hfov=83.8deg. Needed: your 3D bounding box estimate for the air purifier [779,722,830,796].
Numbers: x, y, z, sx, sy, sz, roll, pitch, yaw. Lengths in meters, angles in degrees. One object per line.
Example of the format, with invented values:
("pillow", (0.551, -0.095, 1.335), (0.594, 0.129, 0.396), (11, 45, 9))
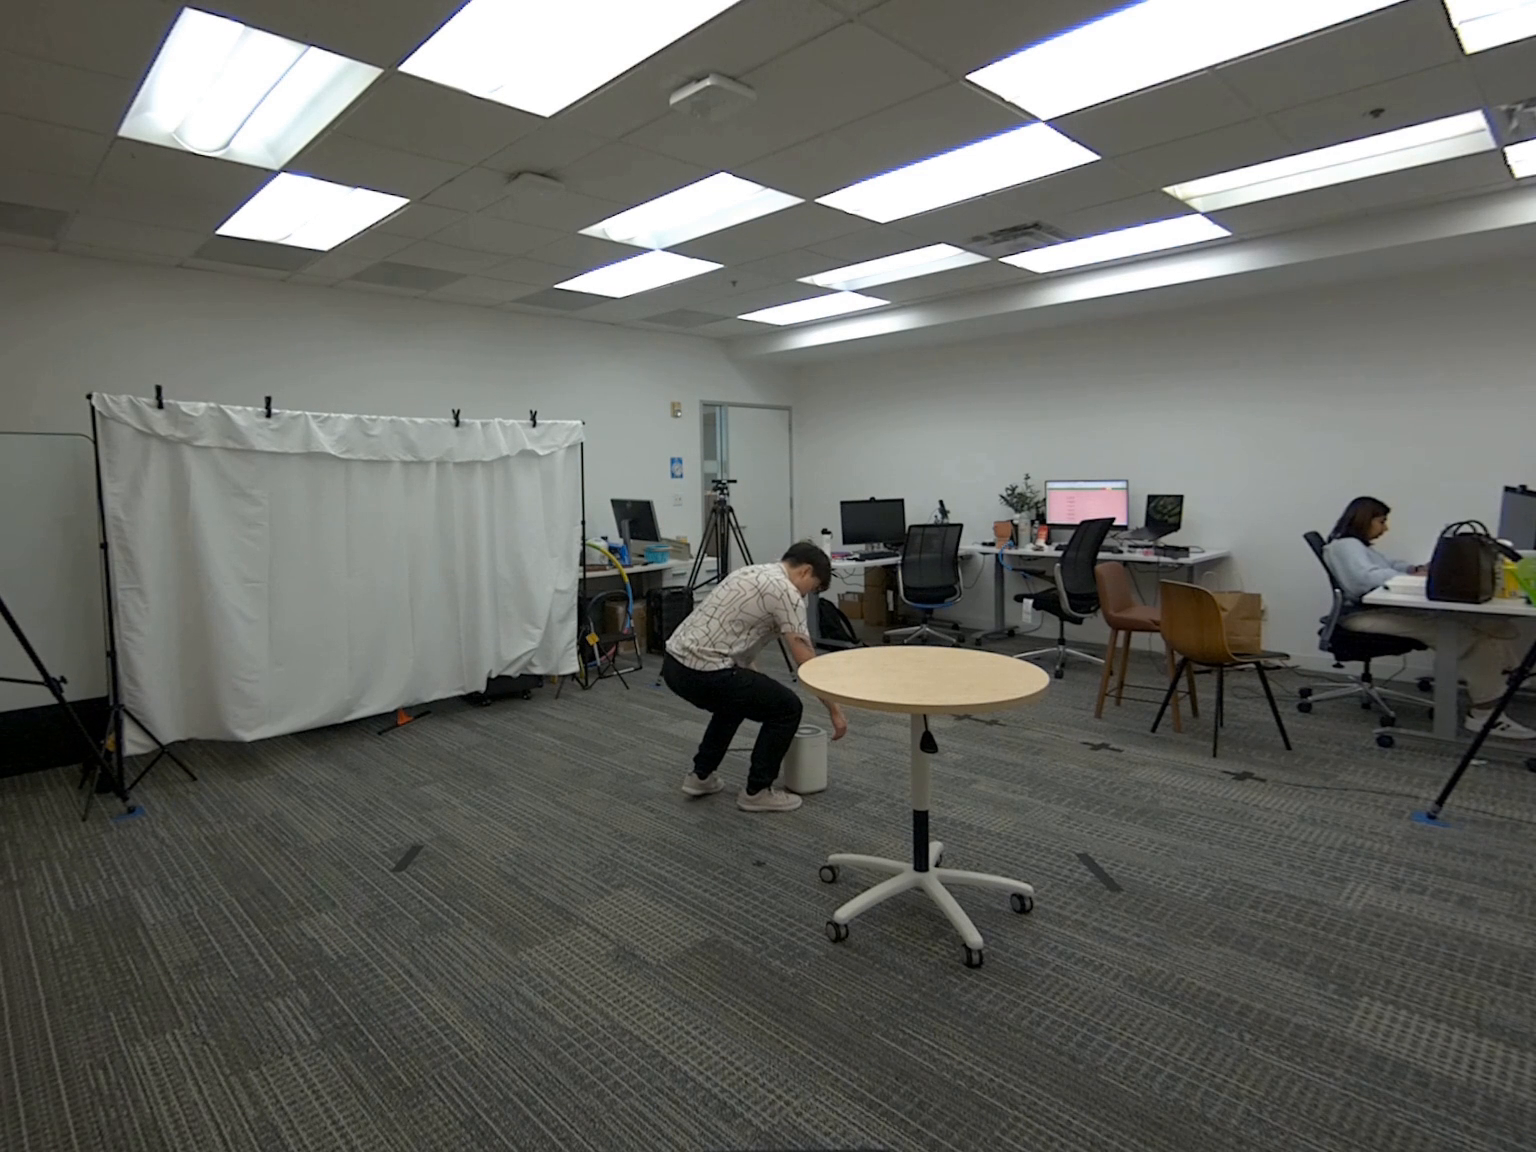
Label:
("air purifier", (0.166, 0.827, 3.857), (0.167, 0.265, 0.176), (-1, 3, -30))
